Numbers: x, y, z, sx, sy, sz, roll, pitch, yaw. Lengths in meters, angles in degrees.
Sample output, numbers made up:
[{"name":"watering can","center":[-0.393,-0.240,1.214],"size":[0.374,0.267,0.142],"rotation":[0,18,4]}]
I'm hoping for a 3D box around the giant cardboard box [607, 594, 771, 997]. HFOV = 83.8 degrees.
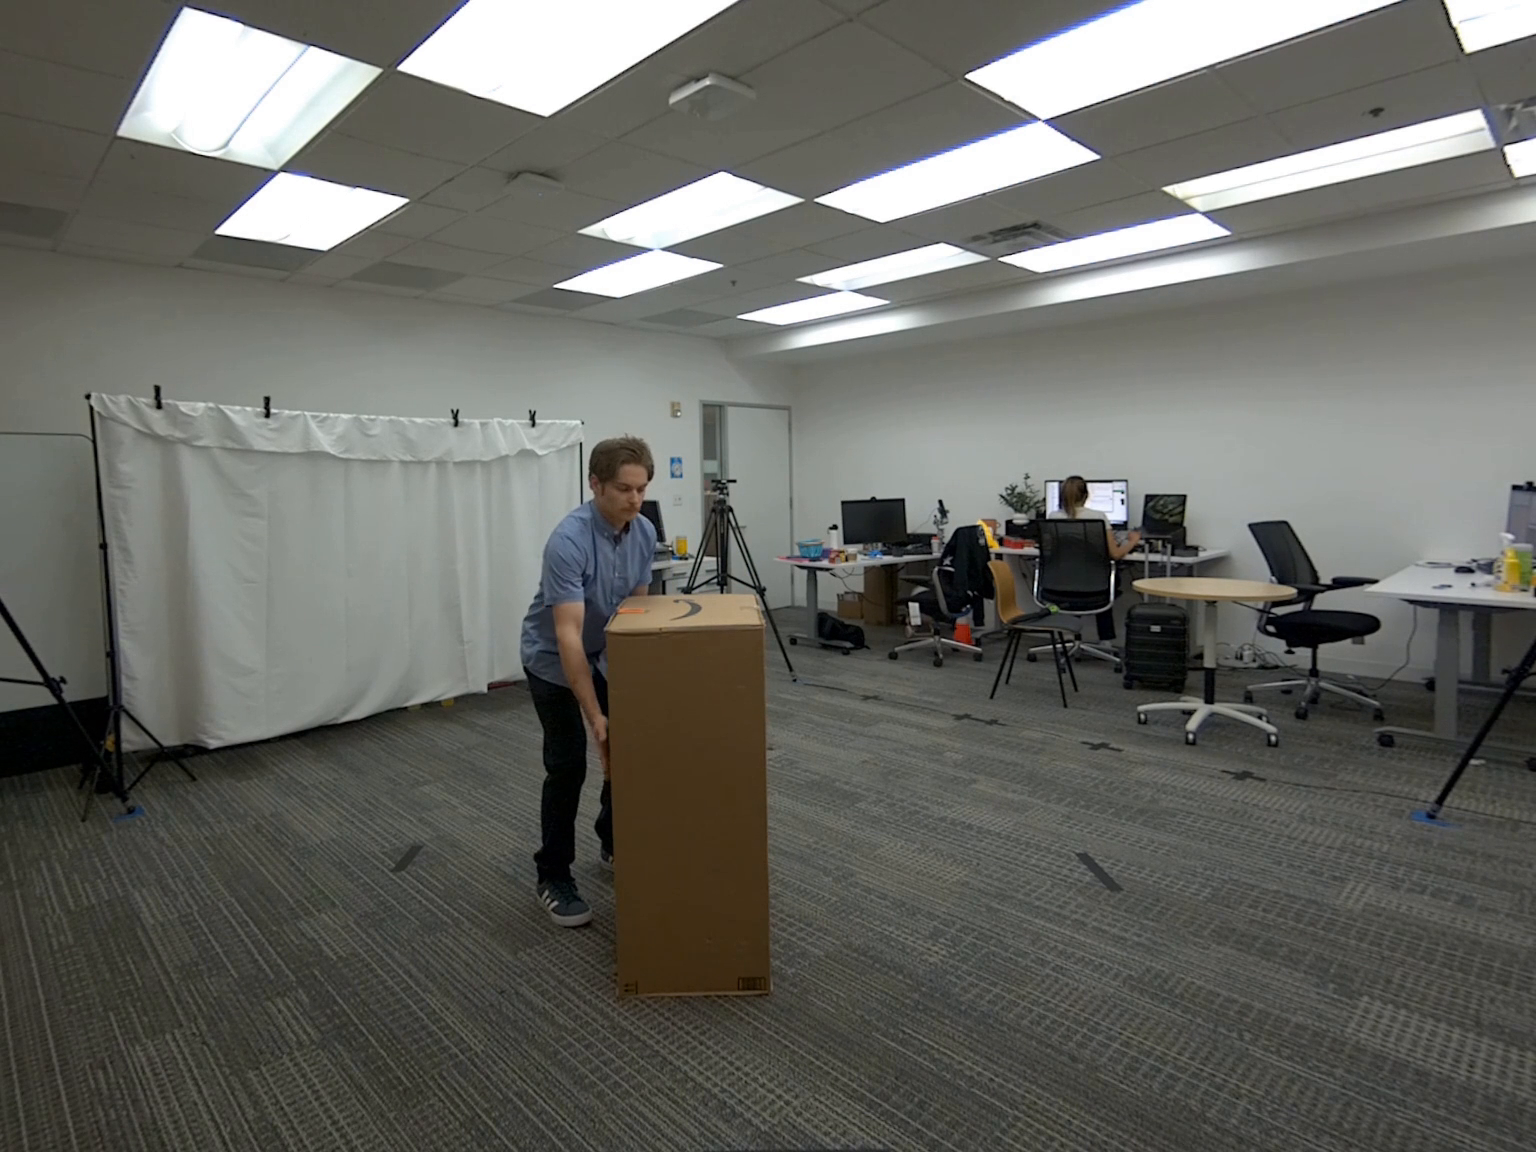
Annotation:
[{"name":"giant cardboard box","center":[-0.226,0.607,2.556],"size":[0.426,1.022,0.580],"rotation":[-1,5,-1]}]
